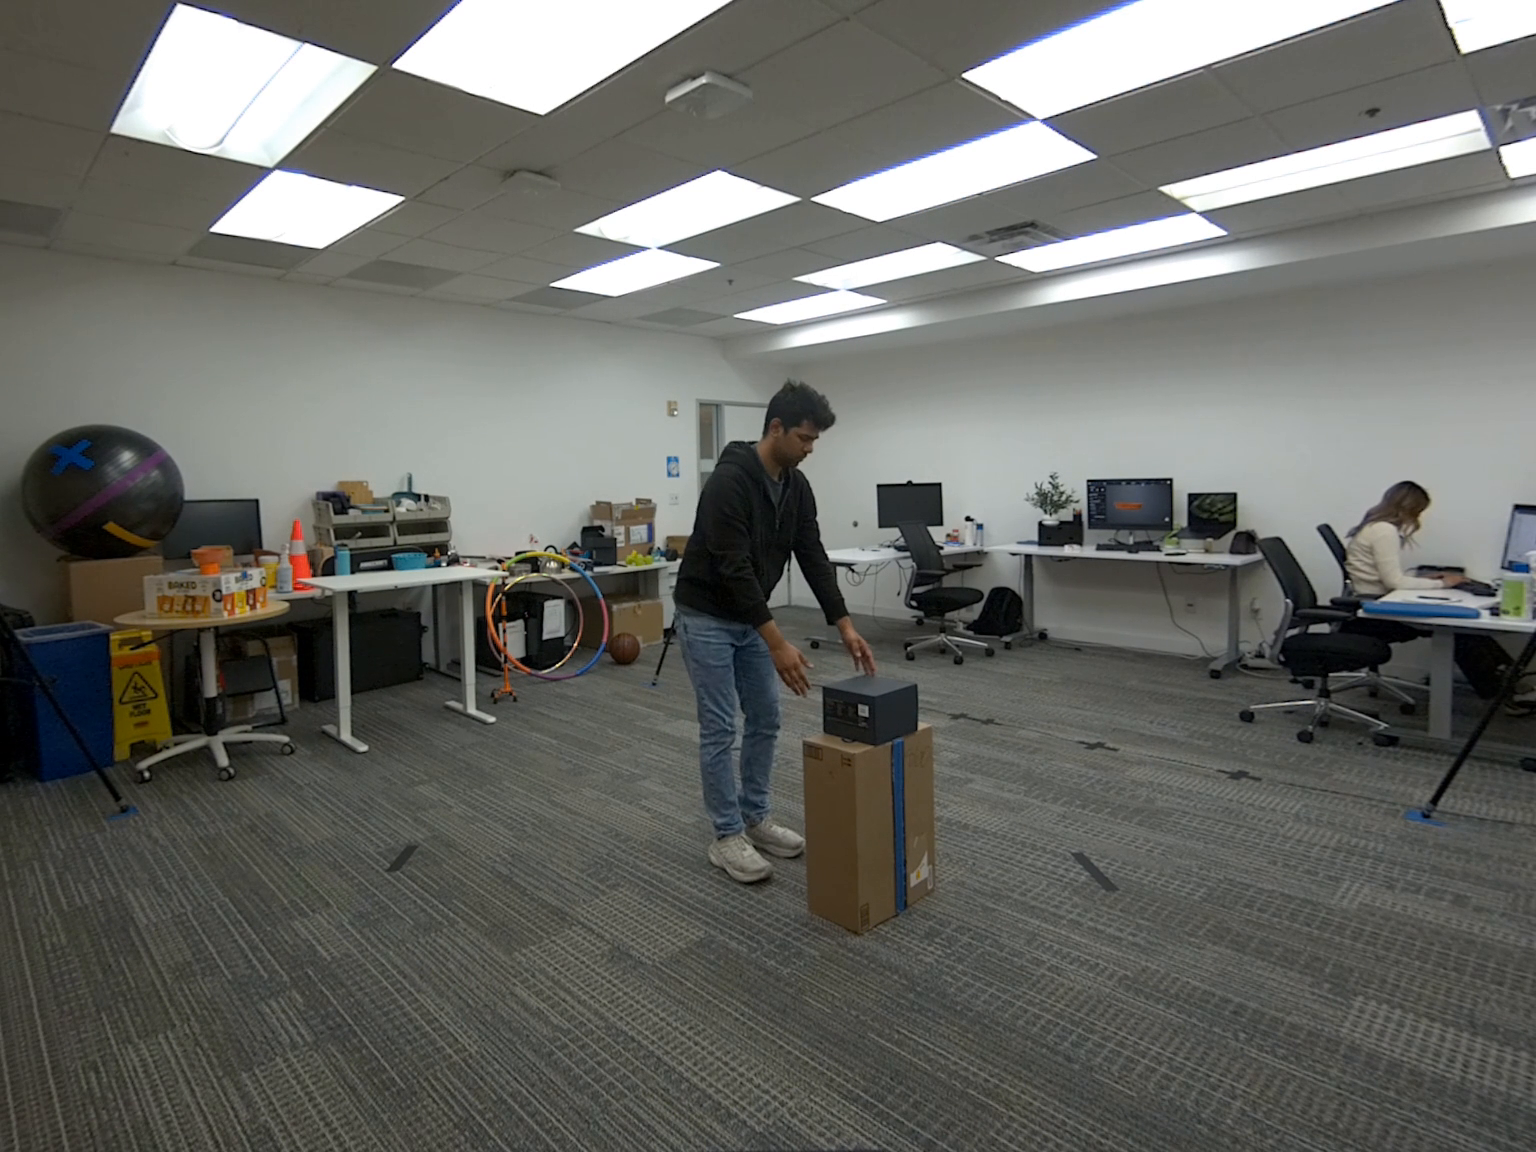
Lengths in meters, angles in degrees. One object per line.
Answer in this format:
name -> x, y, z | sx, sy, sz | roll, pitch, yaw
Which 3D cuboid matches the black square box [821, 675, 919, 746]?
black square box -> 0.335, 0.428, 2.781 | 0.222, 0.155, 0.223 | -6, 7, -44
